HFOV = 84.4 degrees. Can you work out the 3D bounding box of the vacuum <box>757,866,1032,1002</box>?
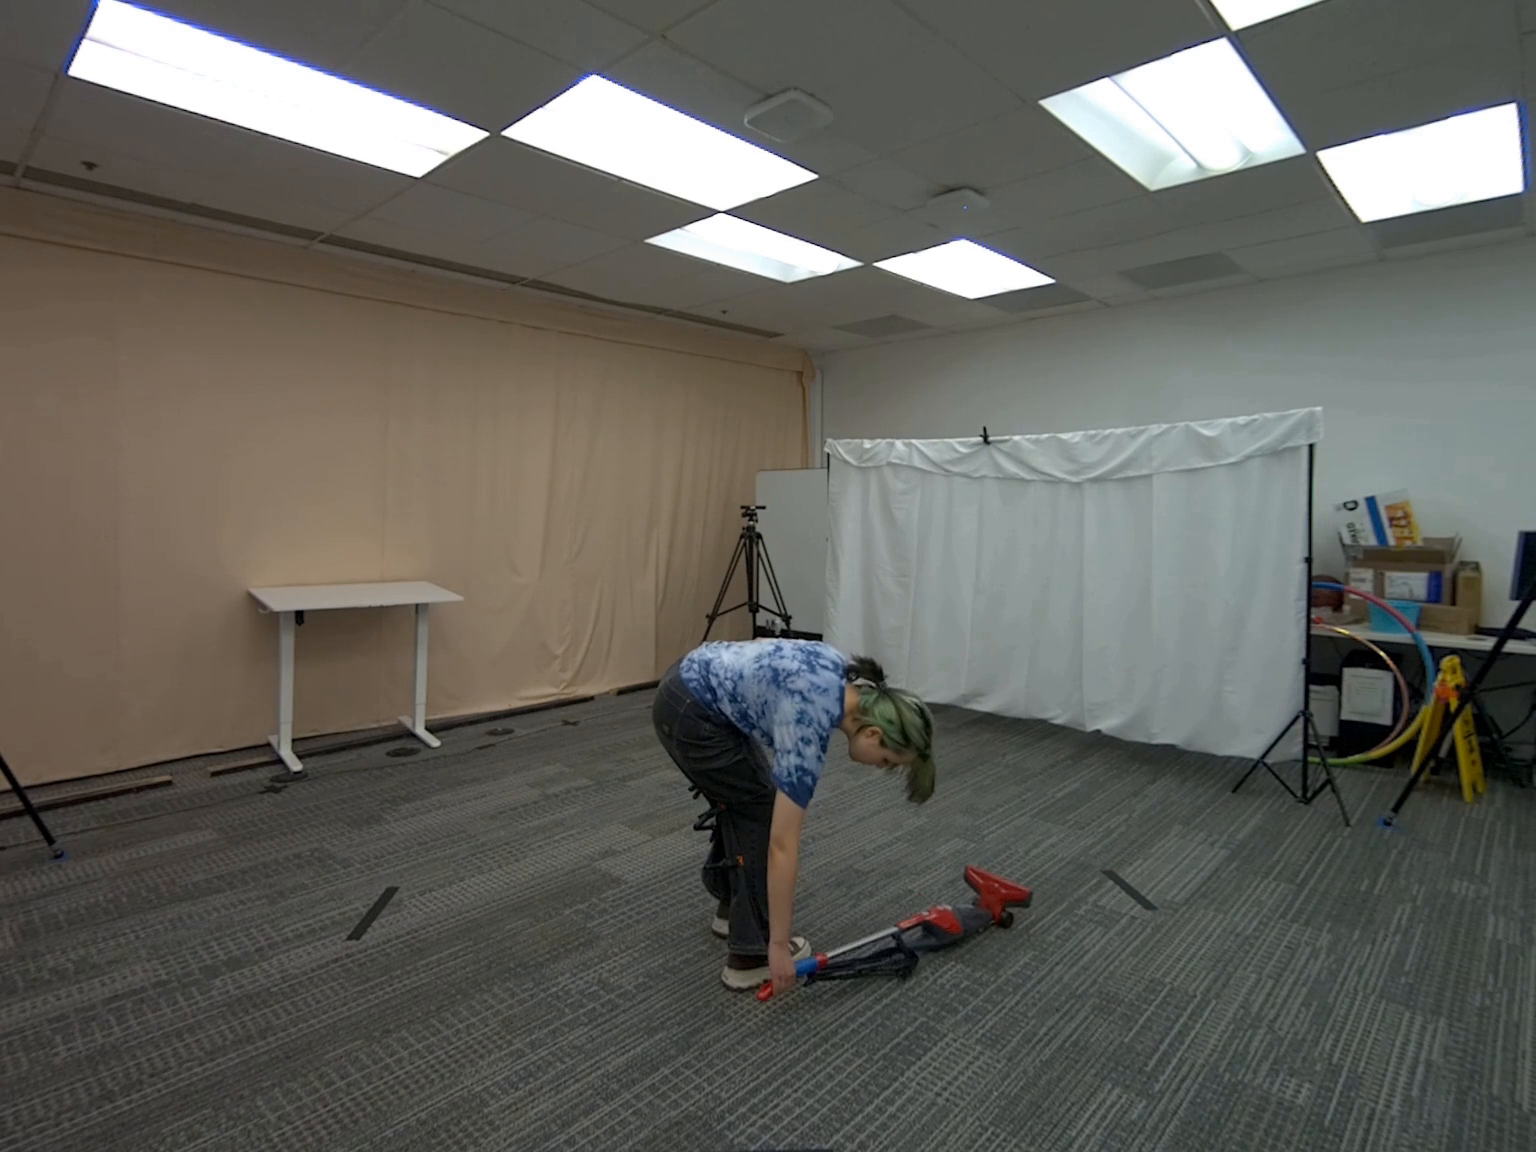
[{"bbox_3d":[0.386,1.106,2.524,1.018,0.144,0.261,-3,4,-38],"label":"vacuum"}]
